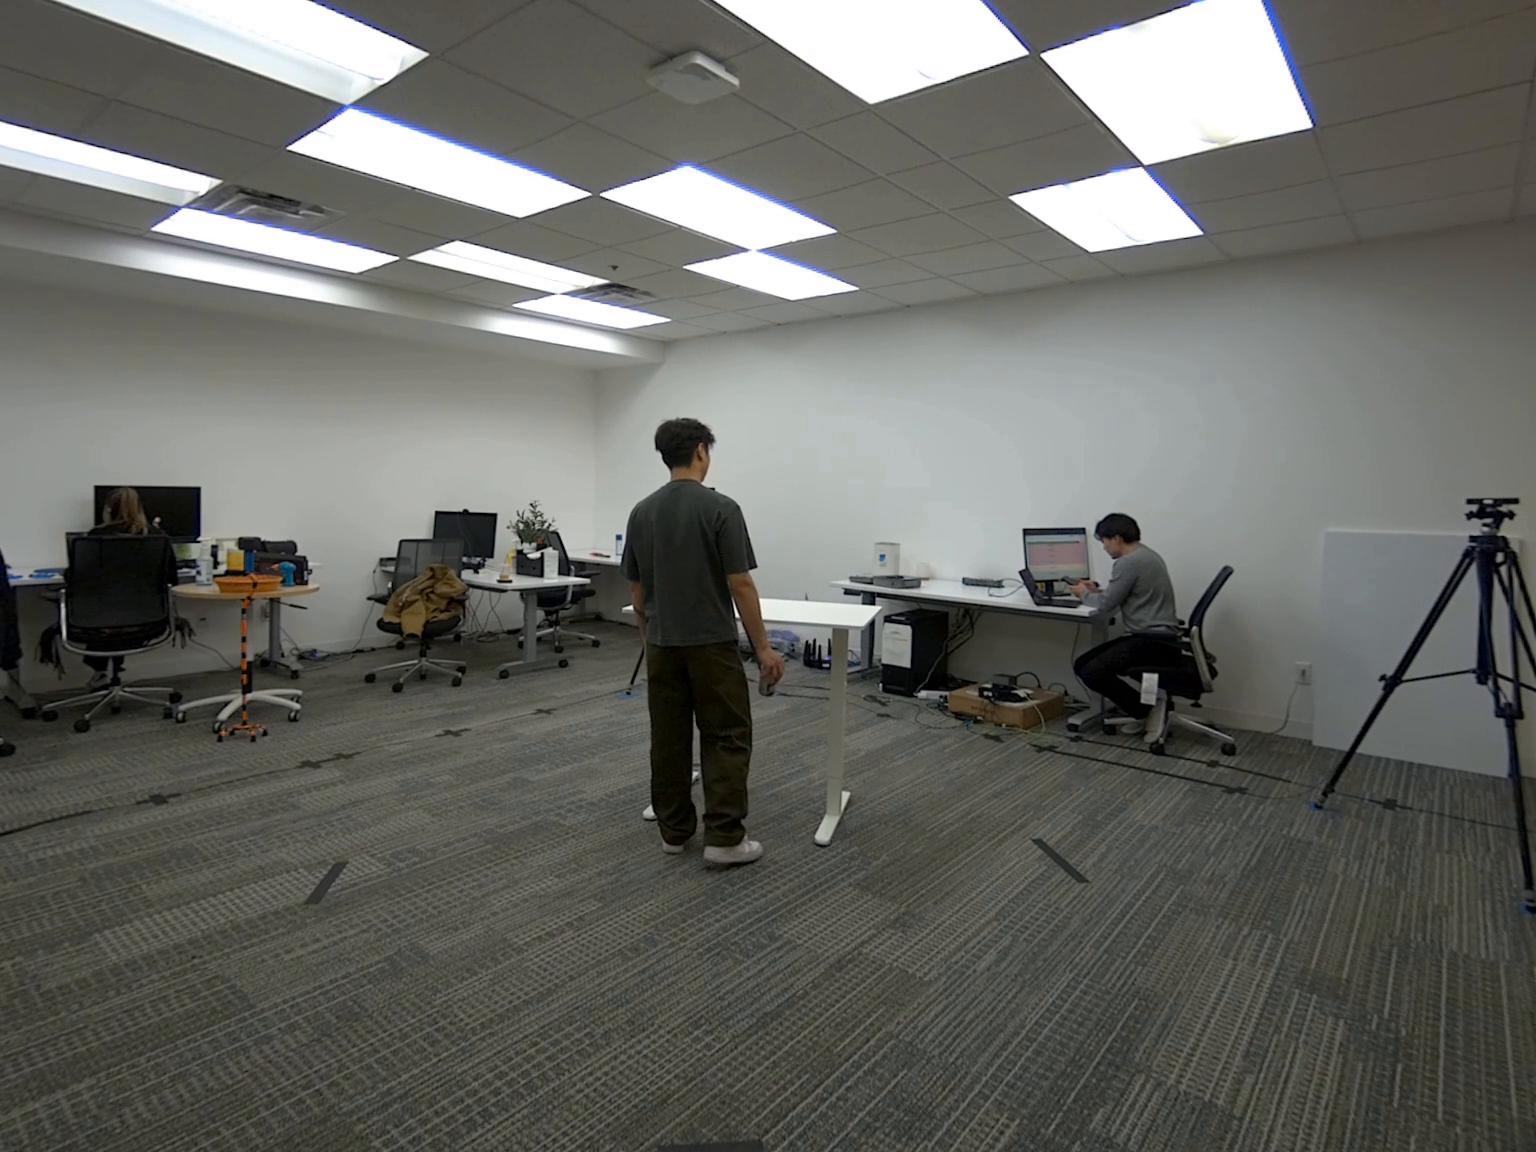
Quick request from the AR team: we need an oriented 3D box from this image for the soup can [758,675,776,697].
[{"bbox_3d":[-0.006,0.393,3.194,0.067,0.118,0.069,-2,30,-1],"label":"soup can"}]
